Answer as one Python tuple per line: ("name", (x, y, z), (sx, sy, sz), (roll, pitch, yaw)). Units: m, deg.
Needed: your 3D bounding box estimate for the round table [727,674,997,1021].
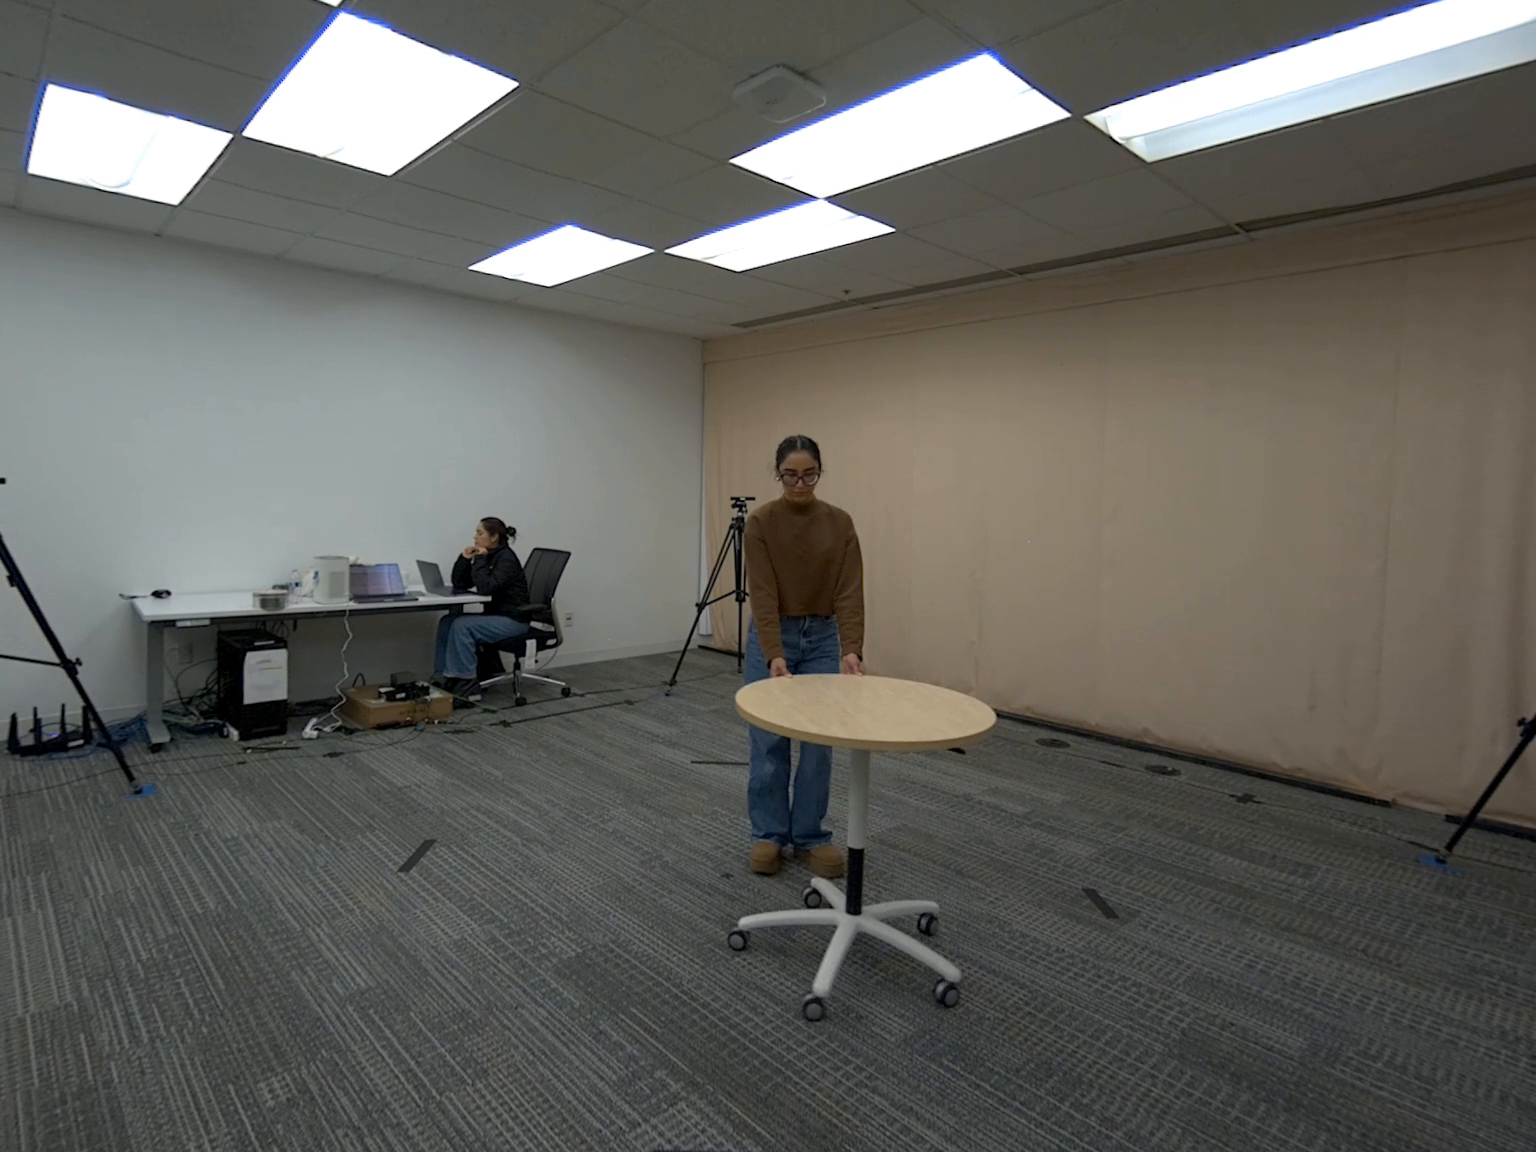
("round table", (0.239, 0.770, 2.561), (0.784, 0.784, 0.788), (2, 5, -2))
